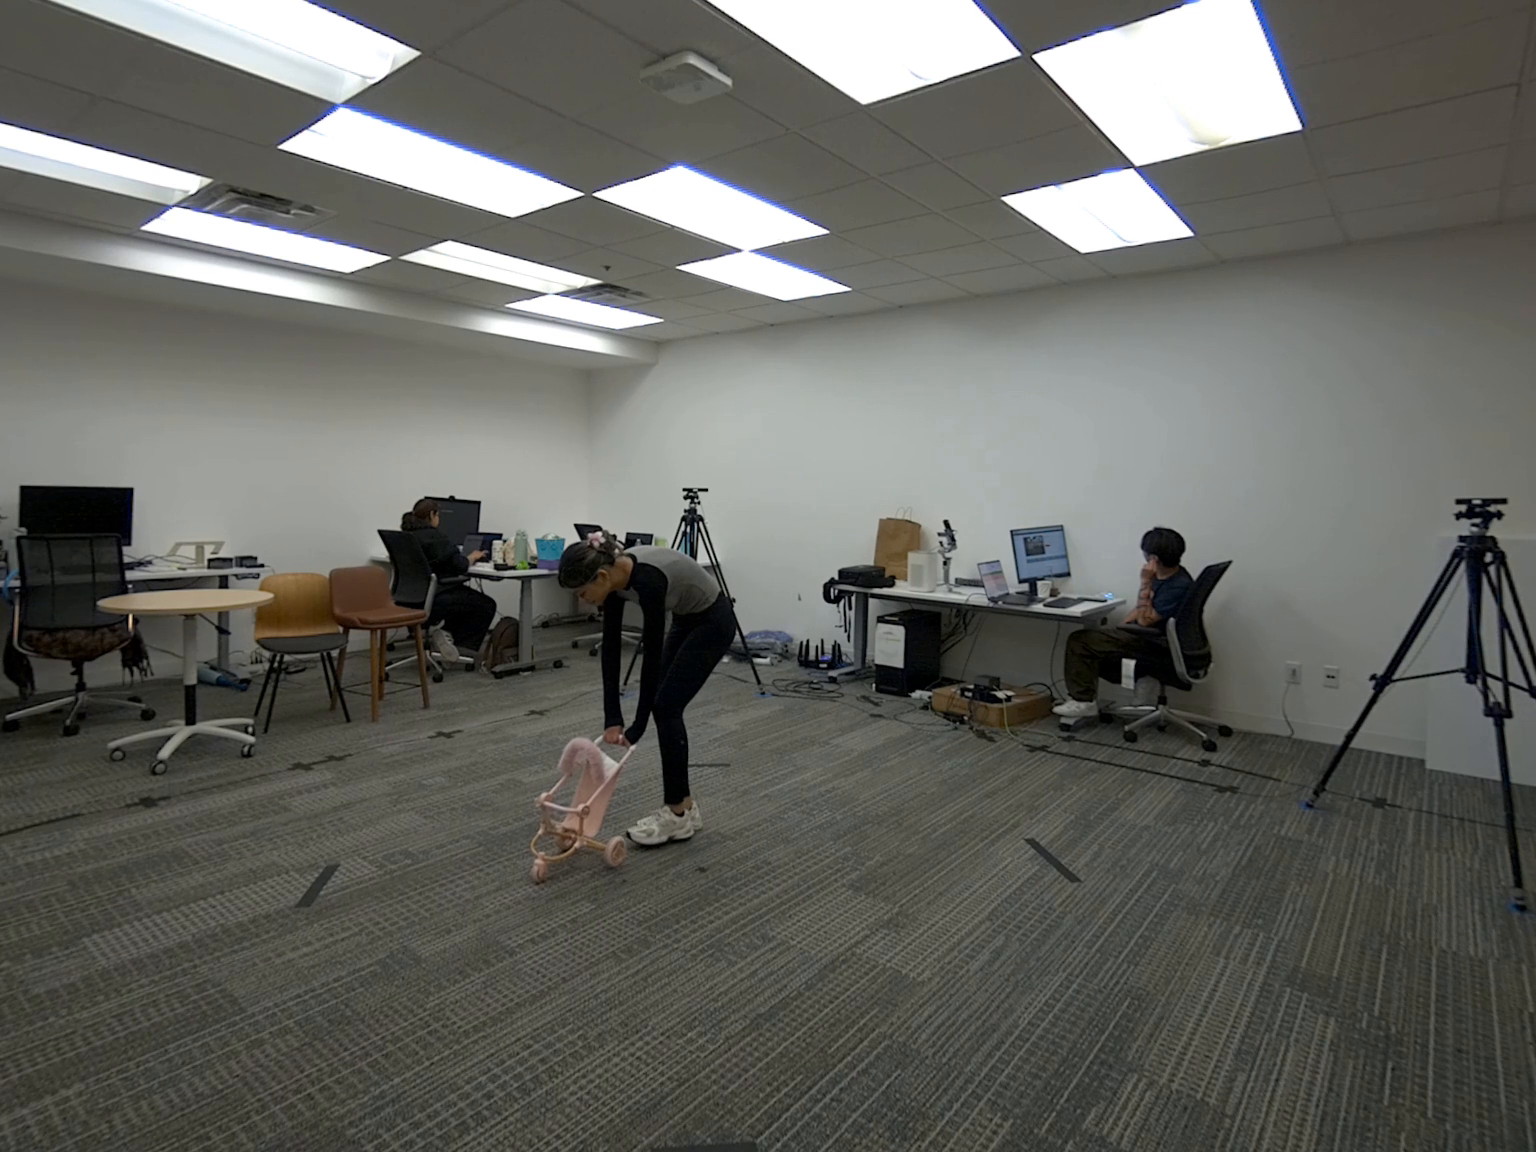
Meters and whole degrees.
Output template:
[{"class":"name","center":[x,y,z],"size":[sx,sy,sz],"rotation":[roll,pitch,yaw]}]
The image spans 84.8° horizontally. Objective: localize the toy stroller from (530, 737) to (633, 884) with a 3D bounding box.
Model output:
[{"class":"toy stroller","center":[-0.707,0.834,3.127],"size":[0.290,0.539,0.328],"rotation":[3,-12,38]}]
